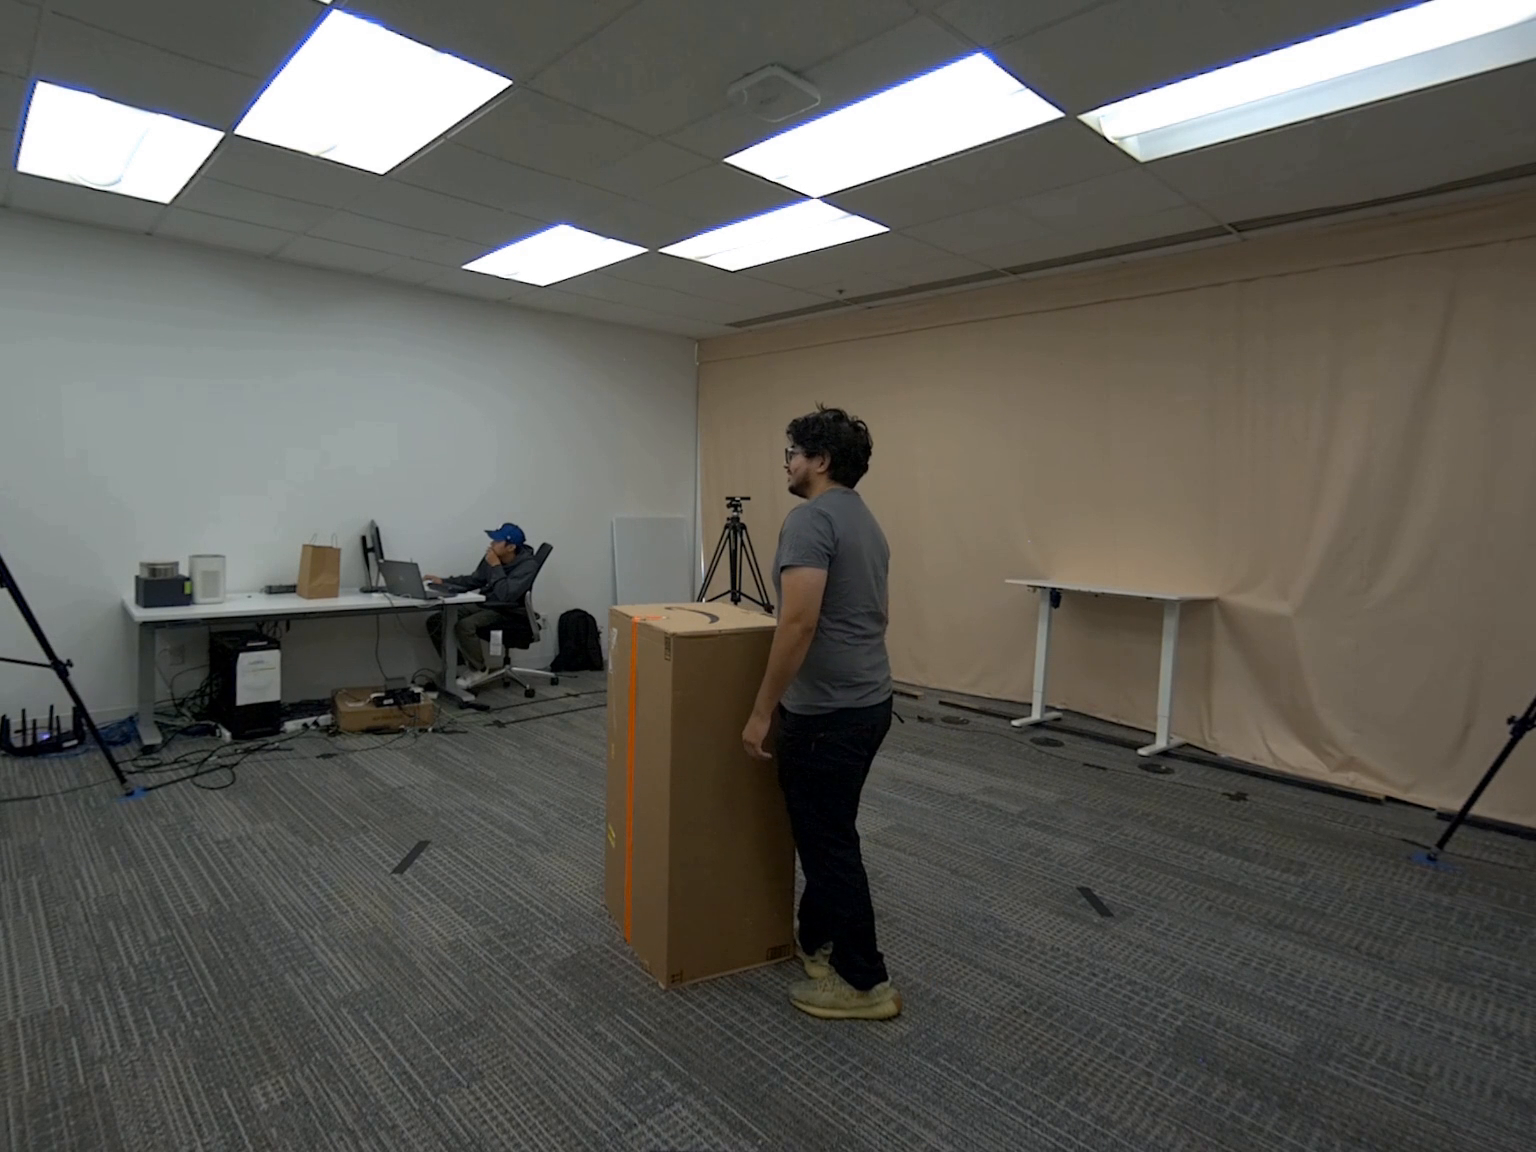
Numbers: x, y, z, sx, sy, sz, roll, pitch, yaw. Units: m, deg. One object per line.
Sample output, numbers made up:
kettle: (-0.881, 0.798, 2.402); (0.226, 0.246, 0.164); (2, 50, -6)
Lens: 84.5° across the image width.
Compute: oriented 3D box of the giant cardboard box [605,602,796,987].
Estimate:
giant cardboard box: (-0.239, 0.636, 2.686); (0.438, 1.025, 0.596); (1, 3, -28)
